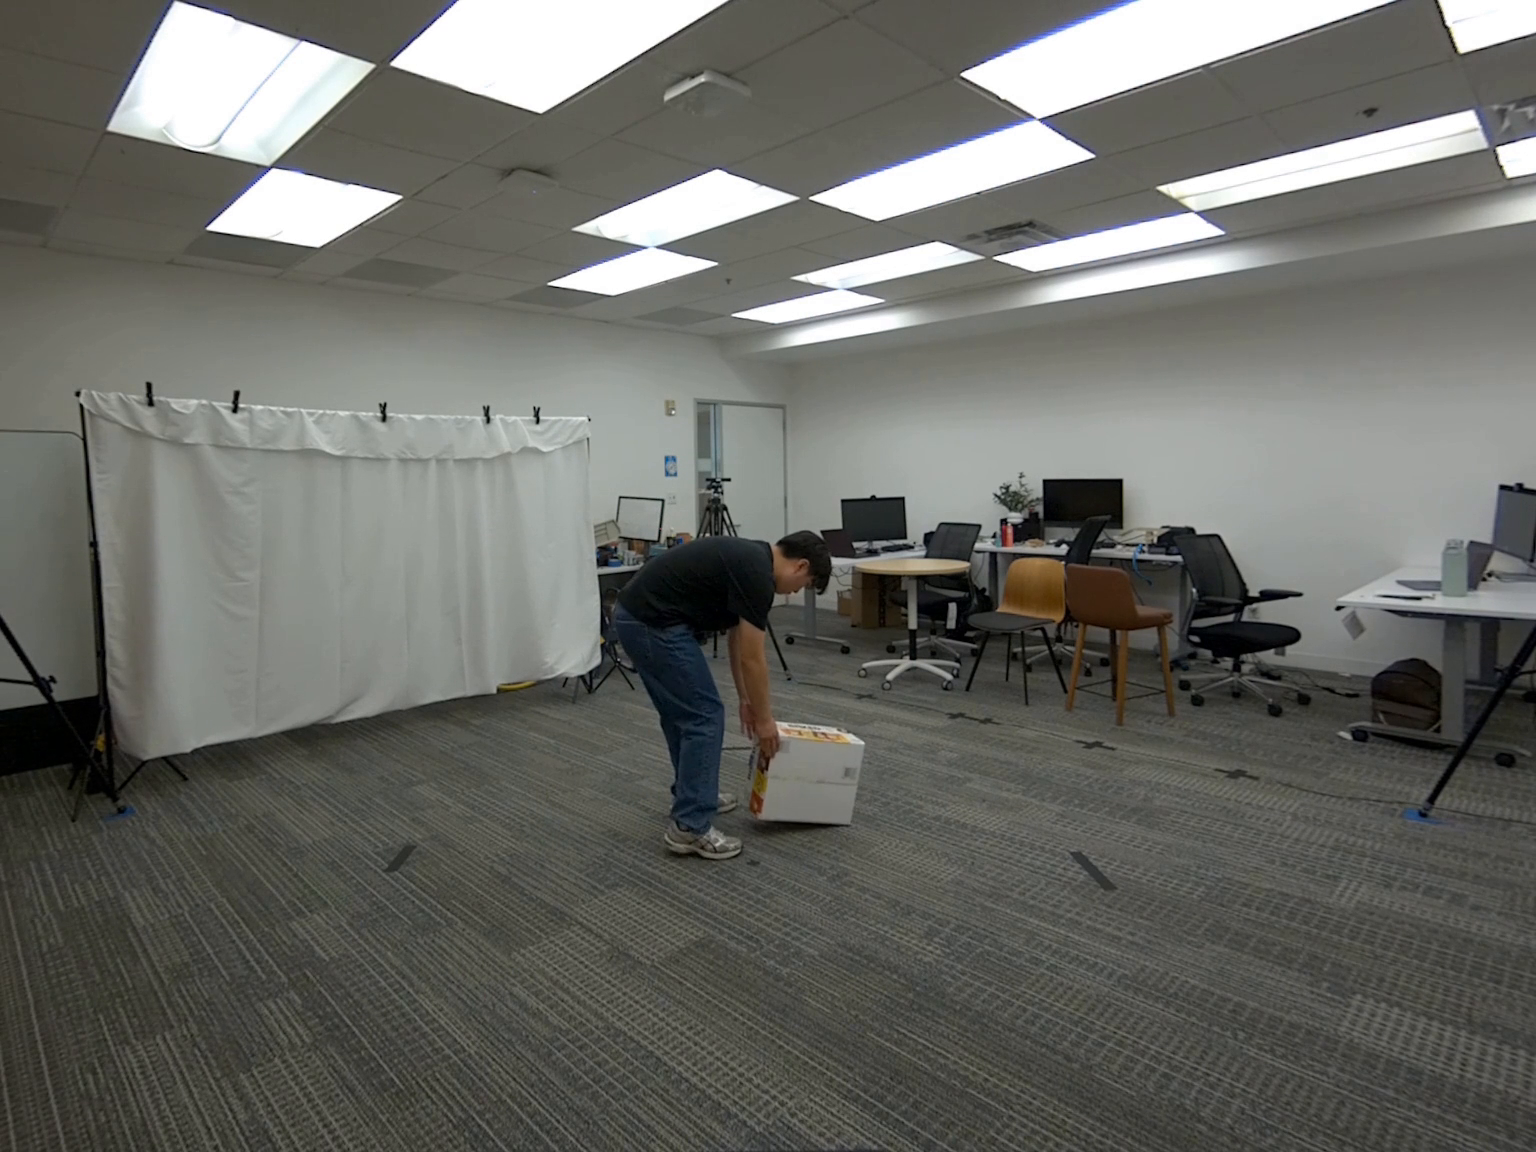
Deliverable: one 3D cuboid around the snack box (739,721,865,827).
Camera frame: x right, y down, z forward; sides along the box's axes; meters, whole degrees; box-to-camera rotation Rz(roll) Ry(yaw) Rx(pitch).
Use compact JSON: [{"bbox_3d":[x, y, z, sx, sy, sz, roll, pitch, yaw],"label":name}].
[{"bbox_3d":[0.144,0.791,3.440,0.398,0.340,0.210,9,2,-17],"label":"snack box"}]
